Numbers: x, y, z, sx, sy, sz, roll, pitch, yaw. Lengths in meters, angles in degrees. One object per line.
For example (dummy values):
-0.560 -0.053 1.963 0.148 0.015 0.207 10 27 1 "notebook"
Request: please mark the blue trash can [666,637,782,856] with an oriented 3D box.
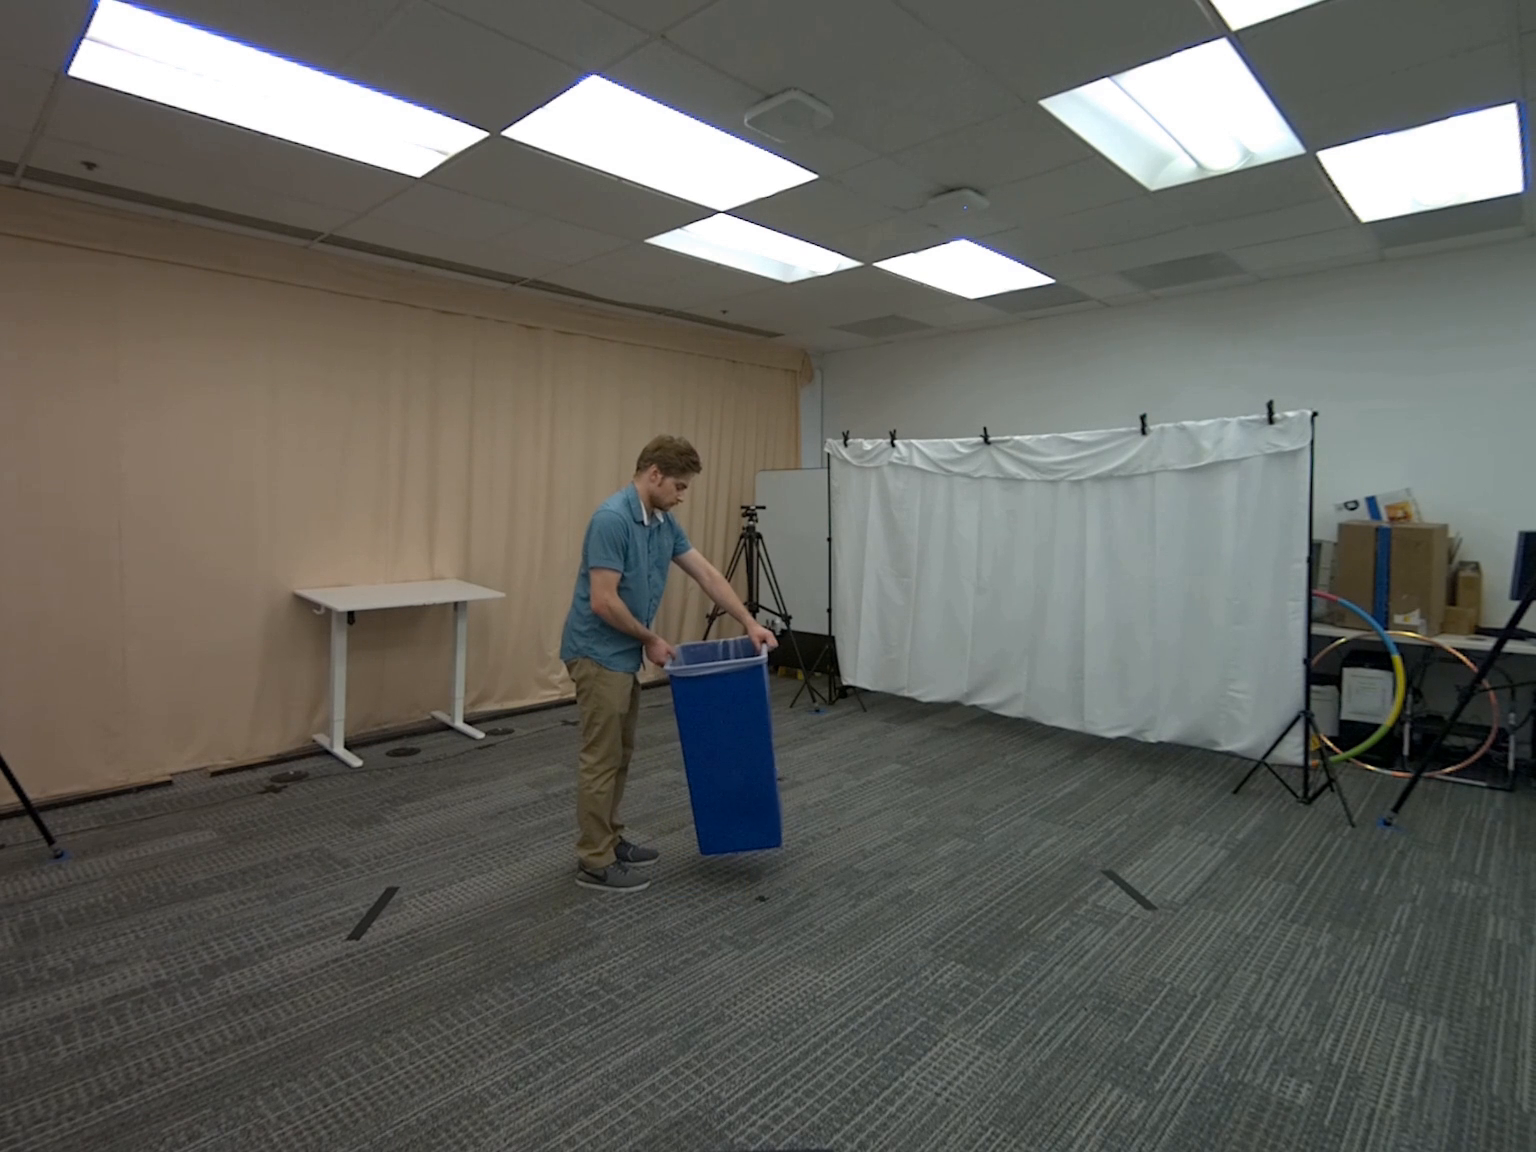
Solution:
-0.156 0.633 3.139 0.374 0.710 0.380 -7 6 -1 "blue trash can"
